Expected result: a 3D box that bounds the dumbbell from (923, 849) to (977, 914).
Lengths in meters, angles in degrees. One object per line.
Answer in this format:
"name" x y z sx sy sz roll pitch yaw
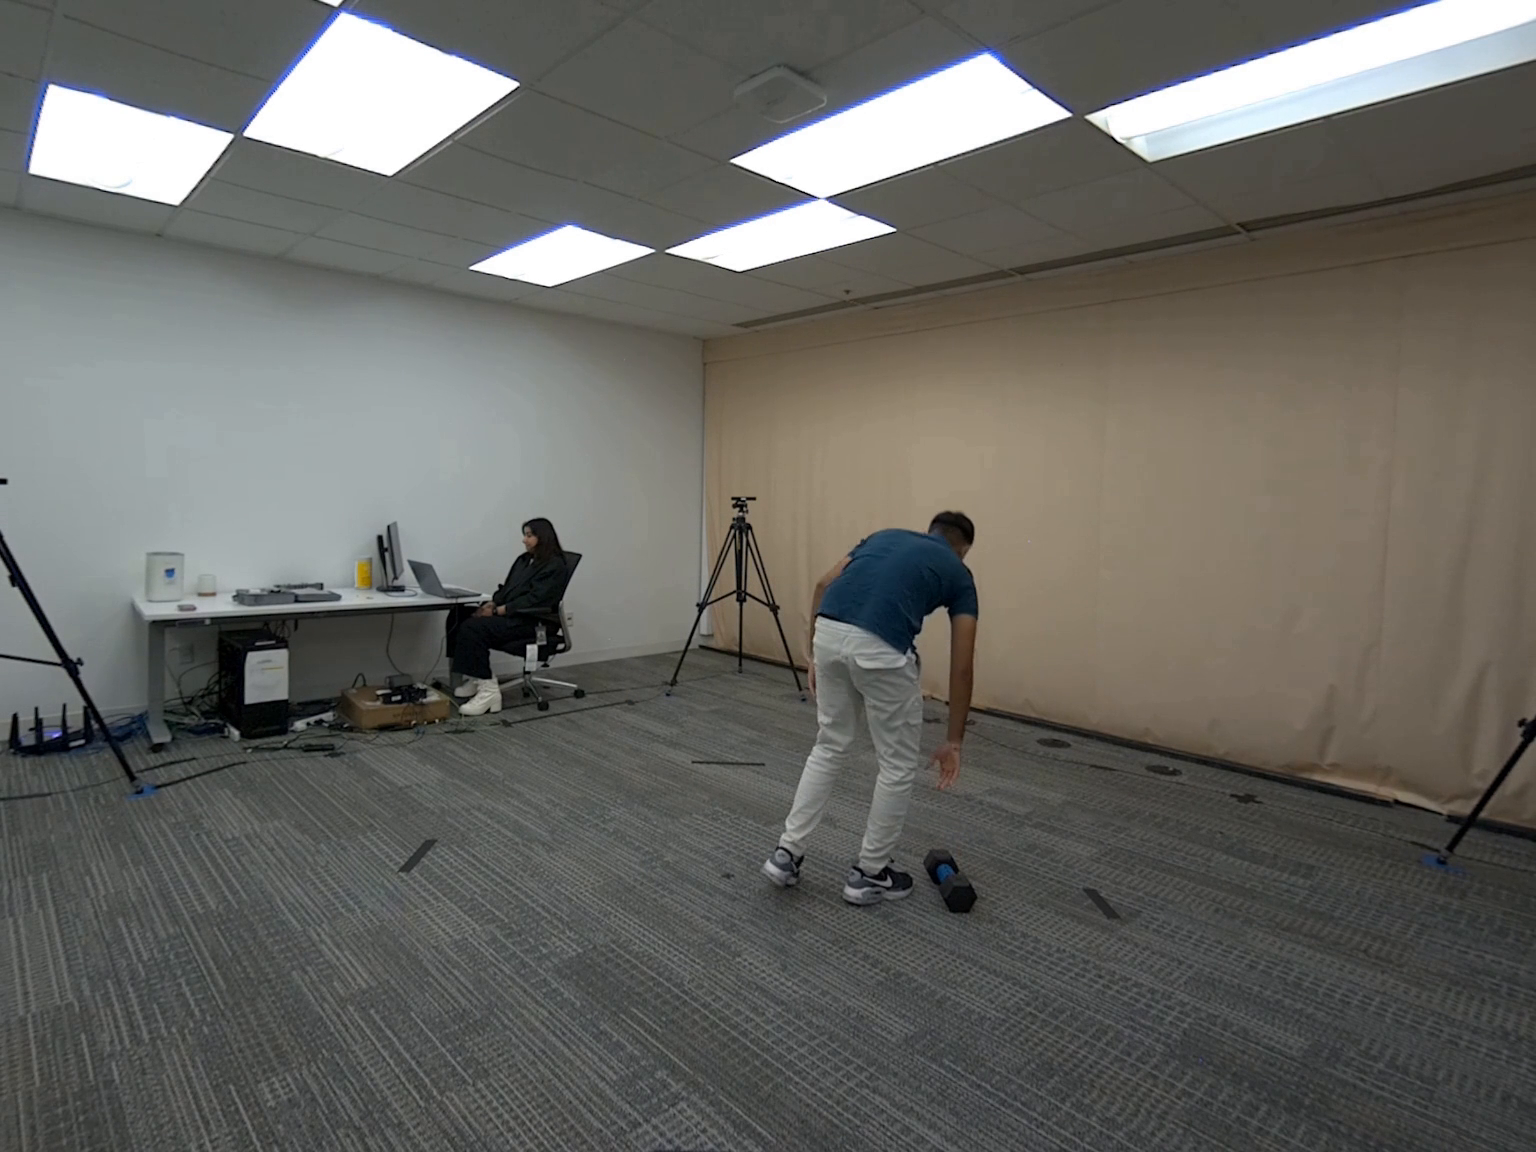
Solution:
"dumbbell" 0.644 1.083 3.003 0.108 0.122 0.295 -29 7 -2
